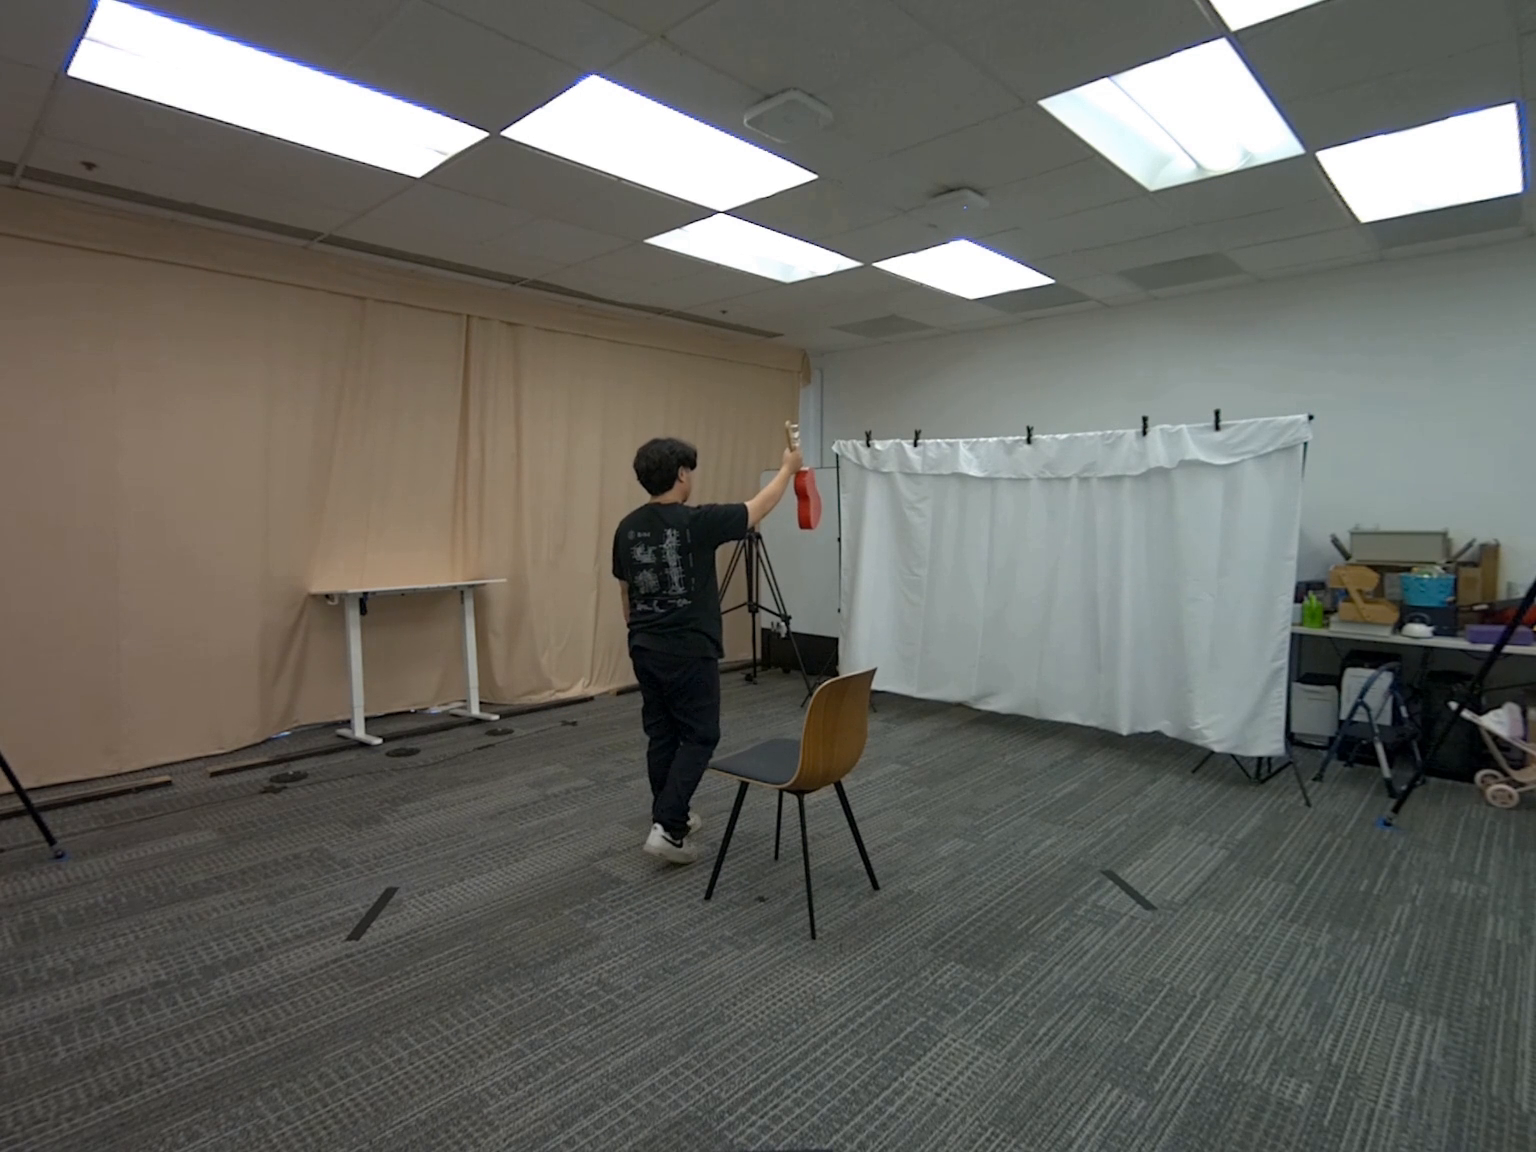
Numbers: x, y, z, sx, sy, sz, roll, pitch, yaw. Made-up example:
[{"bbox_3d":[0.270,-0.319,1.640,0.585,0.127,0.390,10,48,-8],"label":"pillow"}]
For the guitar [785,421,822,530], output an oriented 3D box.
[{"bbox_3d":[0.146,-0.413,3.619,0.072,0.484,0.194,-2,40,20],"label":"guitar"}]
